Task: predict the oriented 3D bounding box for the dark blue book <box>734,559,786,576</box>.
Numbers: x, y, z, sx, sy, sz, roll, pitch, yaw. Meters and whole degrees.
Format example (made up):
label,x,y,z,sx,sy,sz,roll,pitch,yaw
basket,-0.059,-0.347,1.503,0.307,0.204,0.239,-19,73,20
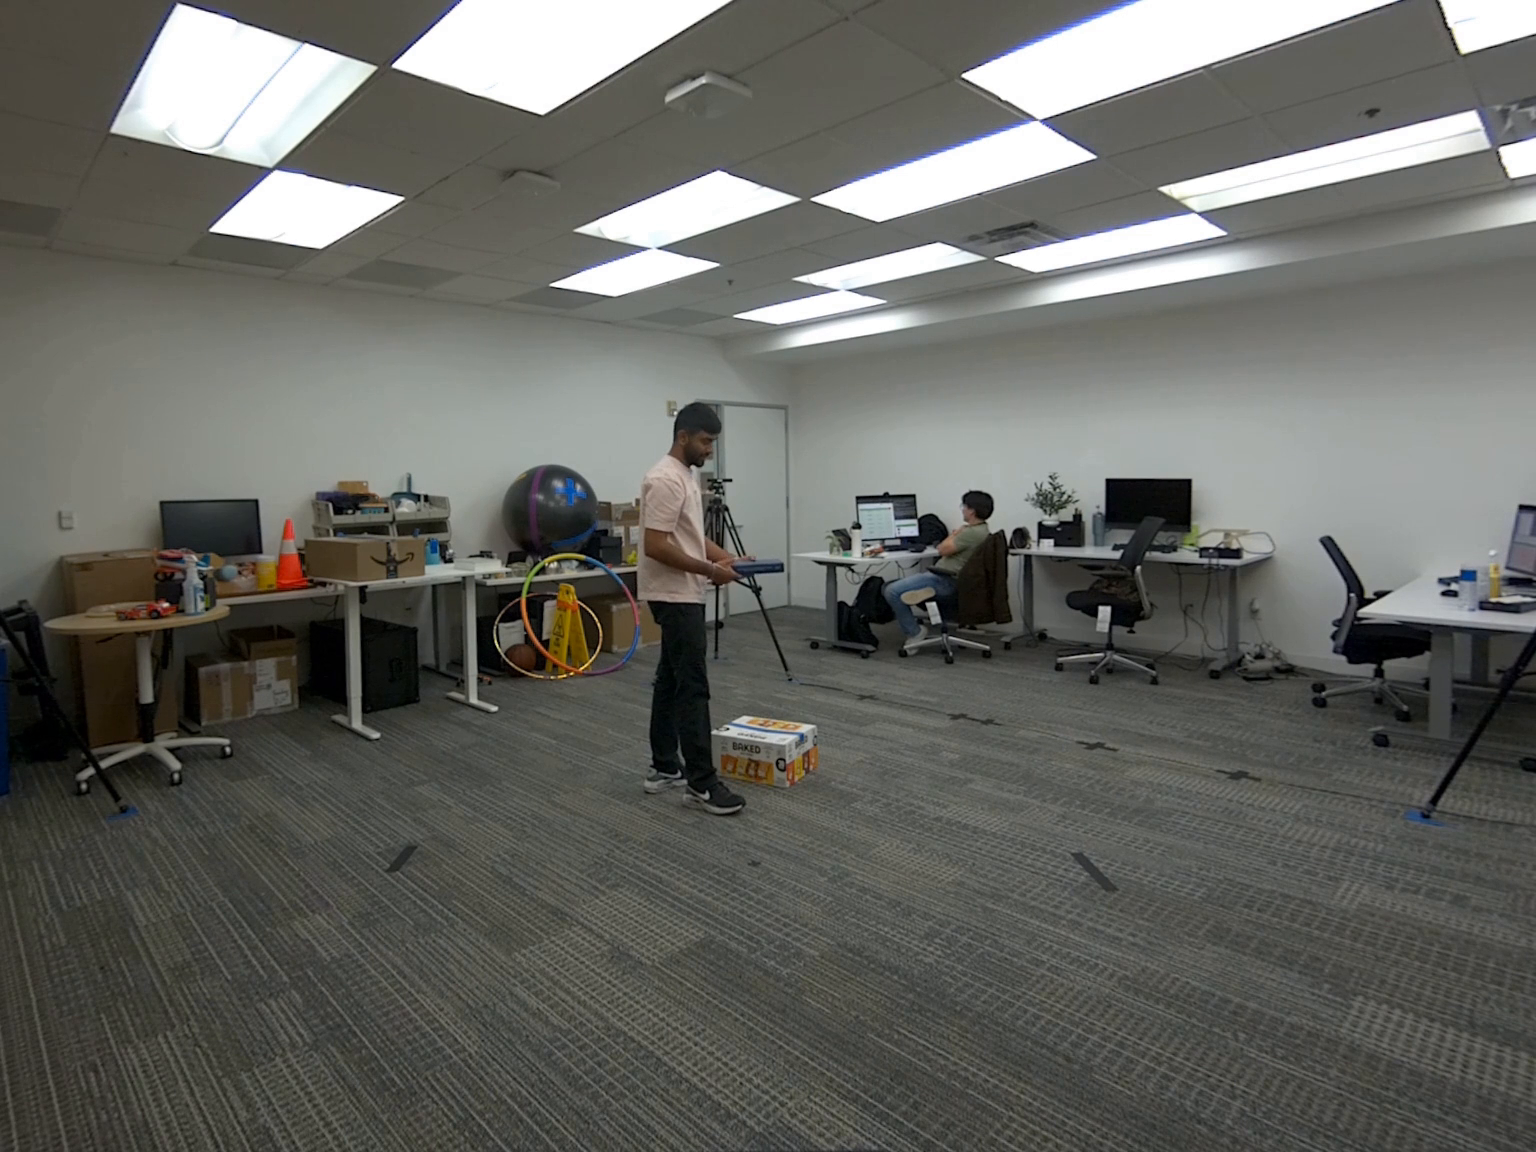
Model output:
label,x,y,z,sx,sy,sz,roll,pitch,yaw
dark blue book,-0.059,-0.037,3.681,0.244,0.045,0.164,-3,5,-4
